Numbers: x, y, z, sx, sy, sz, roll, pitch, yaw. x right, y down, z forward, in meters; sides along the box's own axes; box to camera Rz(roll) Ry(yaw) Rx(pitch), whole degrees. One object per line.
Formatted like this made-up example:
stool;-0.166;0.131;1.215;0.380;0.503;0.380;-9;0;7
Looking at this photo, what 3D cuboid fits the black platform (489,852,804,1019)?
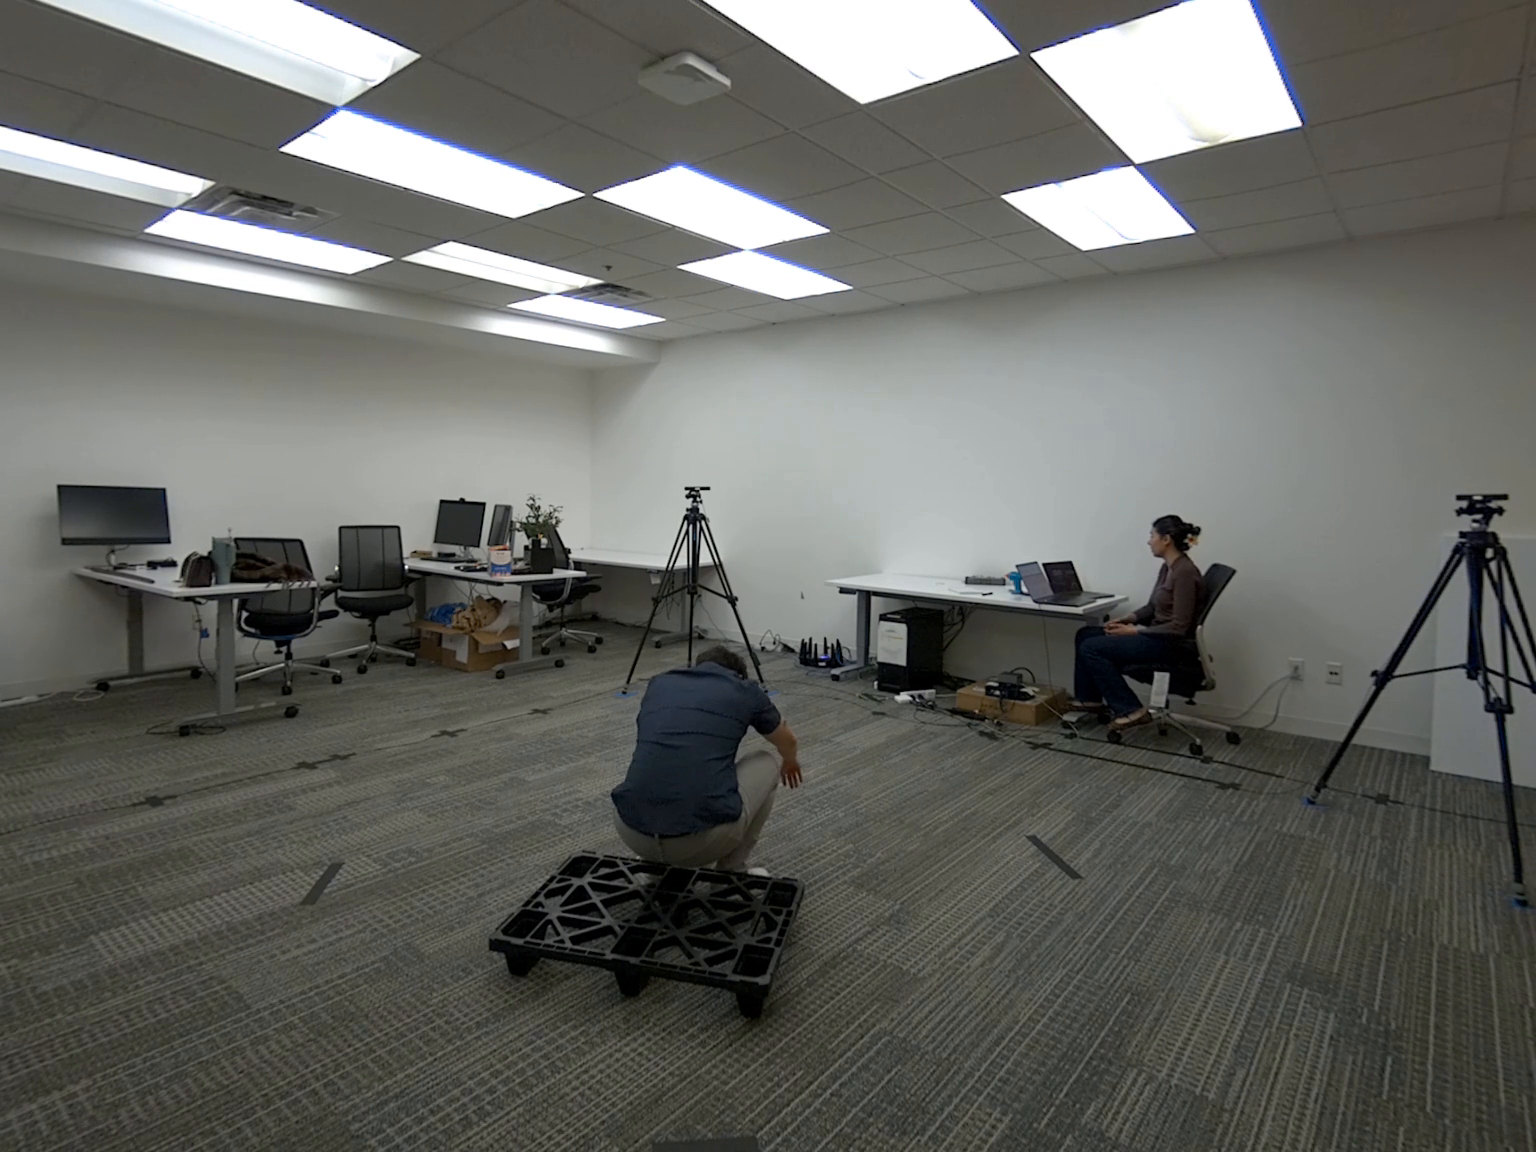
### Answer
black platform;-0.344;1.053;2.548;0.818;0.143;0.598;2;5;14
